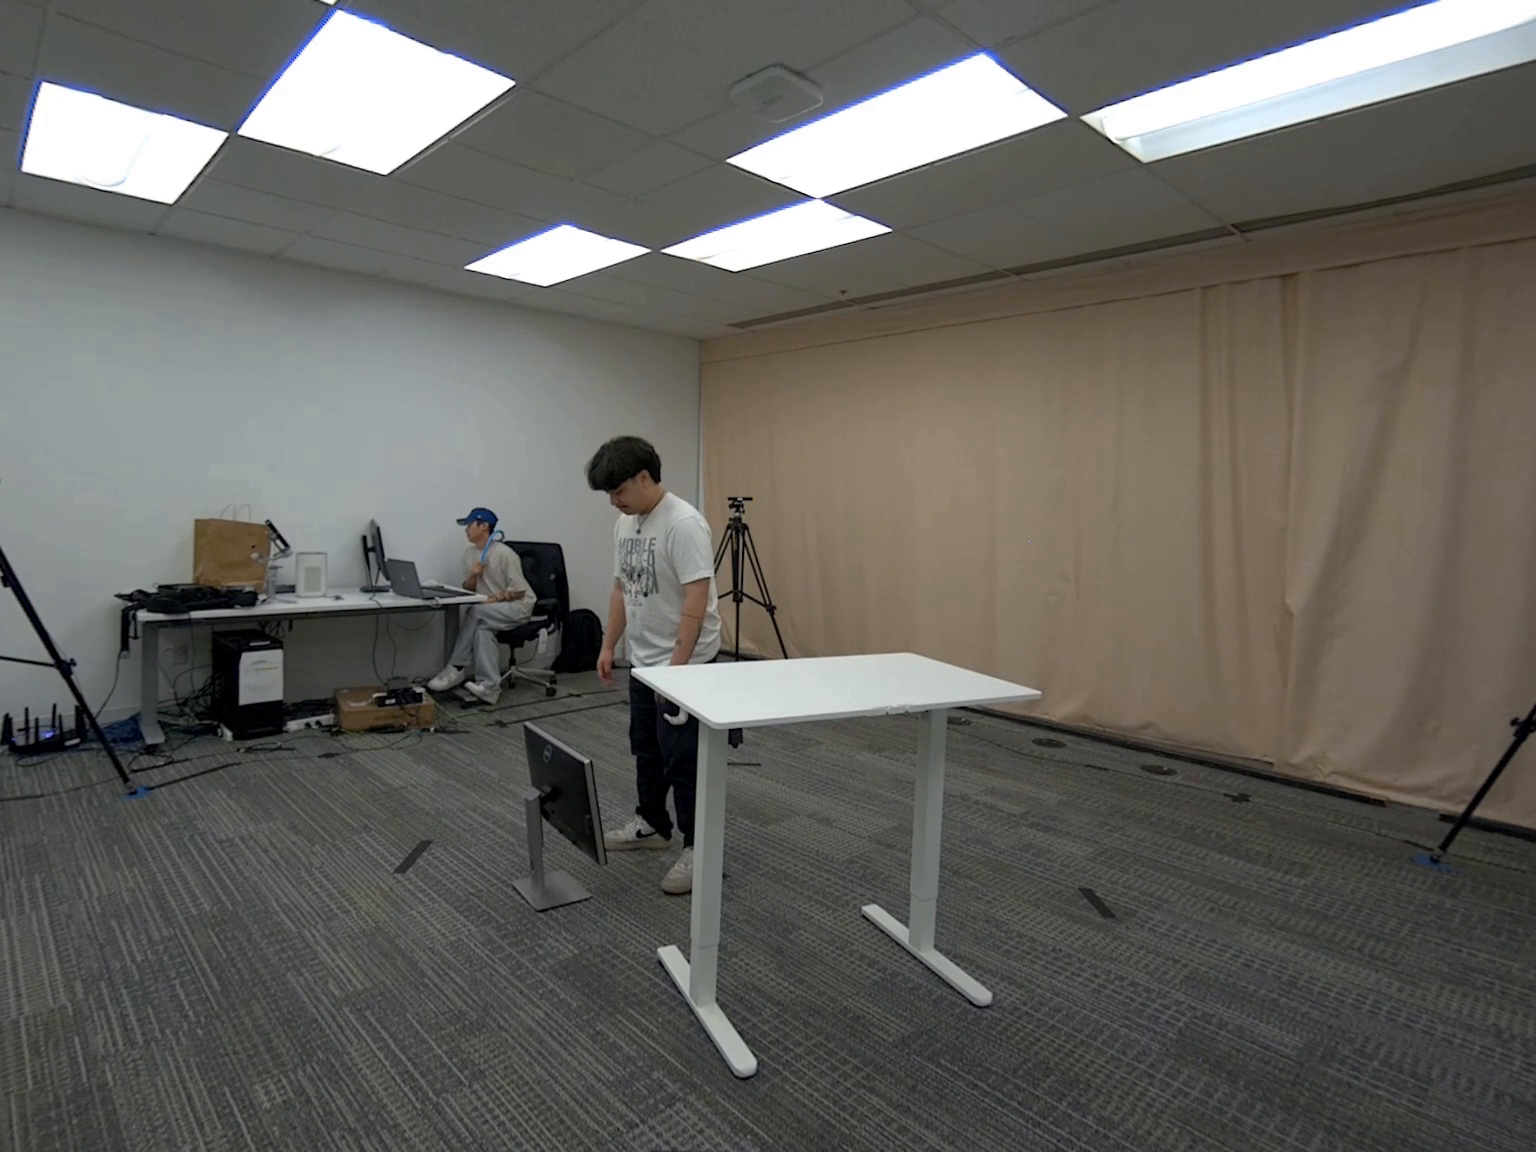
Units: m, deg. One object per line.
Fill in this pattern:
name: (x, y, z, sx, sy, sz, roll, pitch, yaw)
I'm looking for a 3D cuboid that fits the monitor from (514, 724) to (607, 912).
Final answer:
monitor: (-0.783, 0.849, 2.917, 0.206, 0.551, 0.579, -7, 8, -35)
